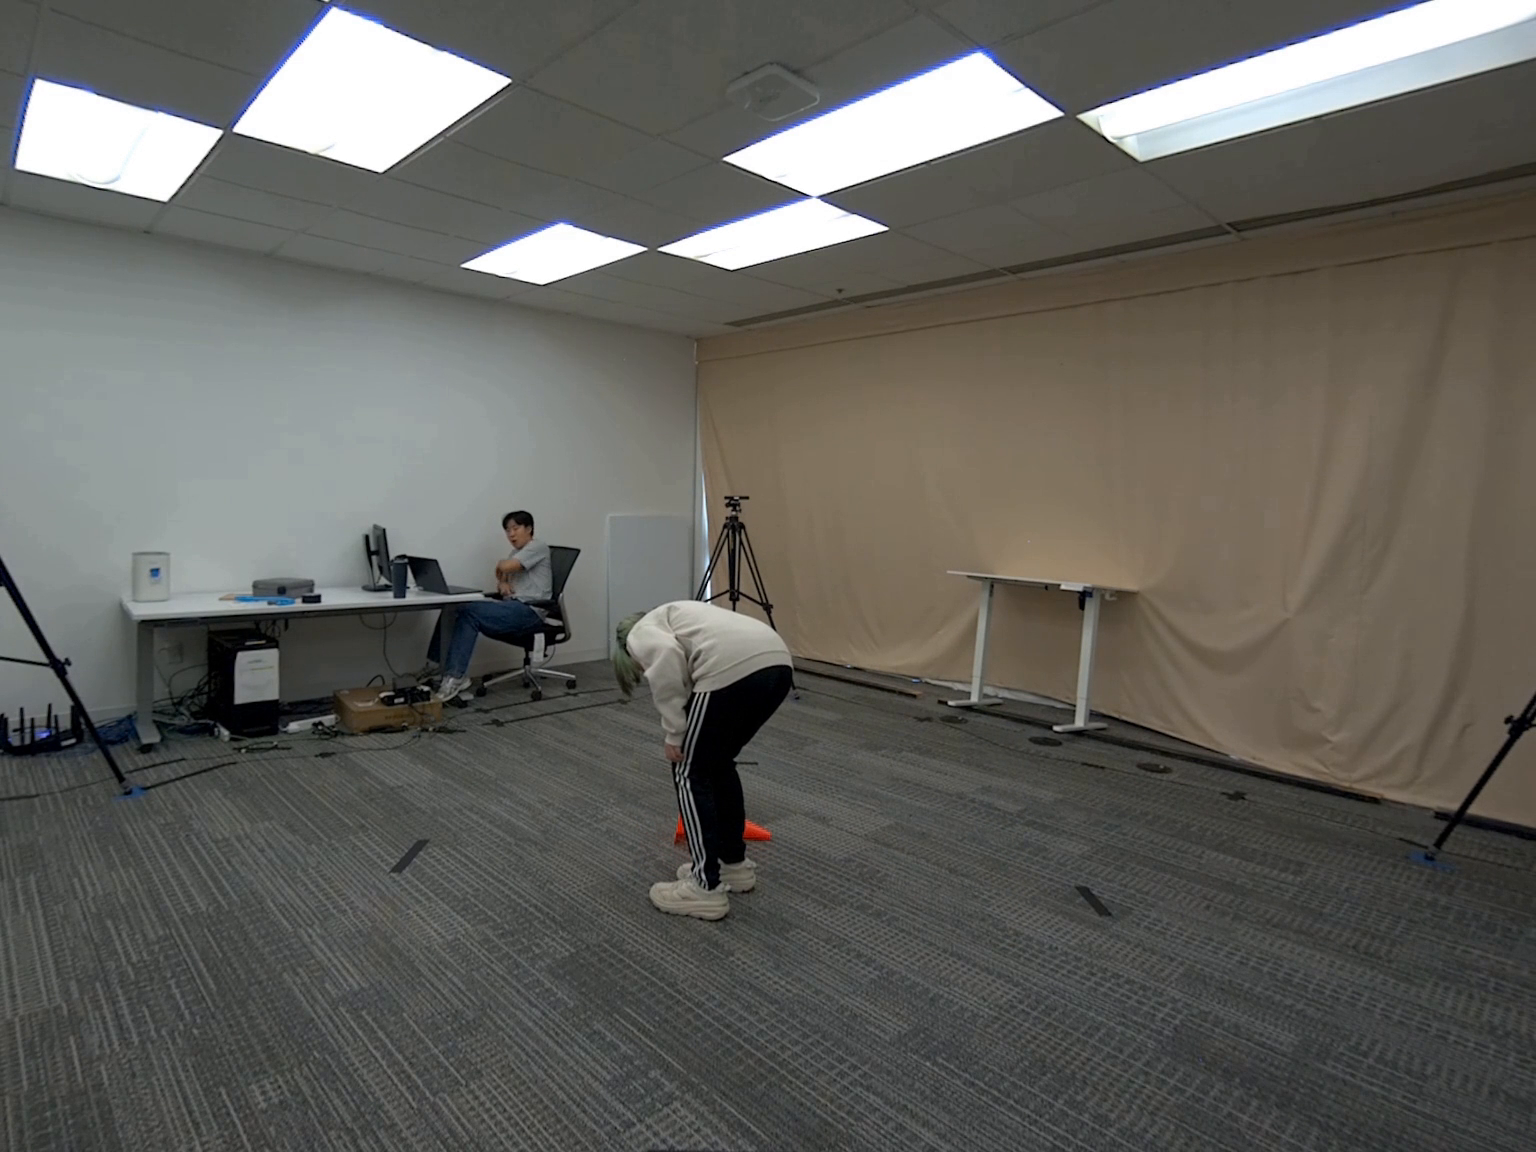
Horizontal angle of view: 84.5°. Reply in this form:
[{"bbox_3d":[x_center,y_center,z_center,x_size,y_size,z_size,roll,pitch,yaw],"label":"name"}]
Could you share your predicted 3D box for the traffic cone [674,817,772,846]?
[{"bbox_3d":[-0.182,1.021,3.452,0.383,0.203,0.205,12,4,-1],"label":"traffic cone"}]
